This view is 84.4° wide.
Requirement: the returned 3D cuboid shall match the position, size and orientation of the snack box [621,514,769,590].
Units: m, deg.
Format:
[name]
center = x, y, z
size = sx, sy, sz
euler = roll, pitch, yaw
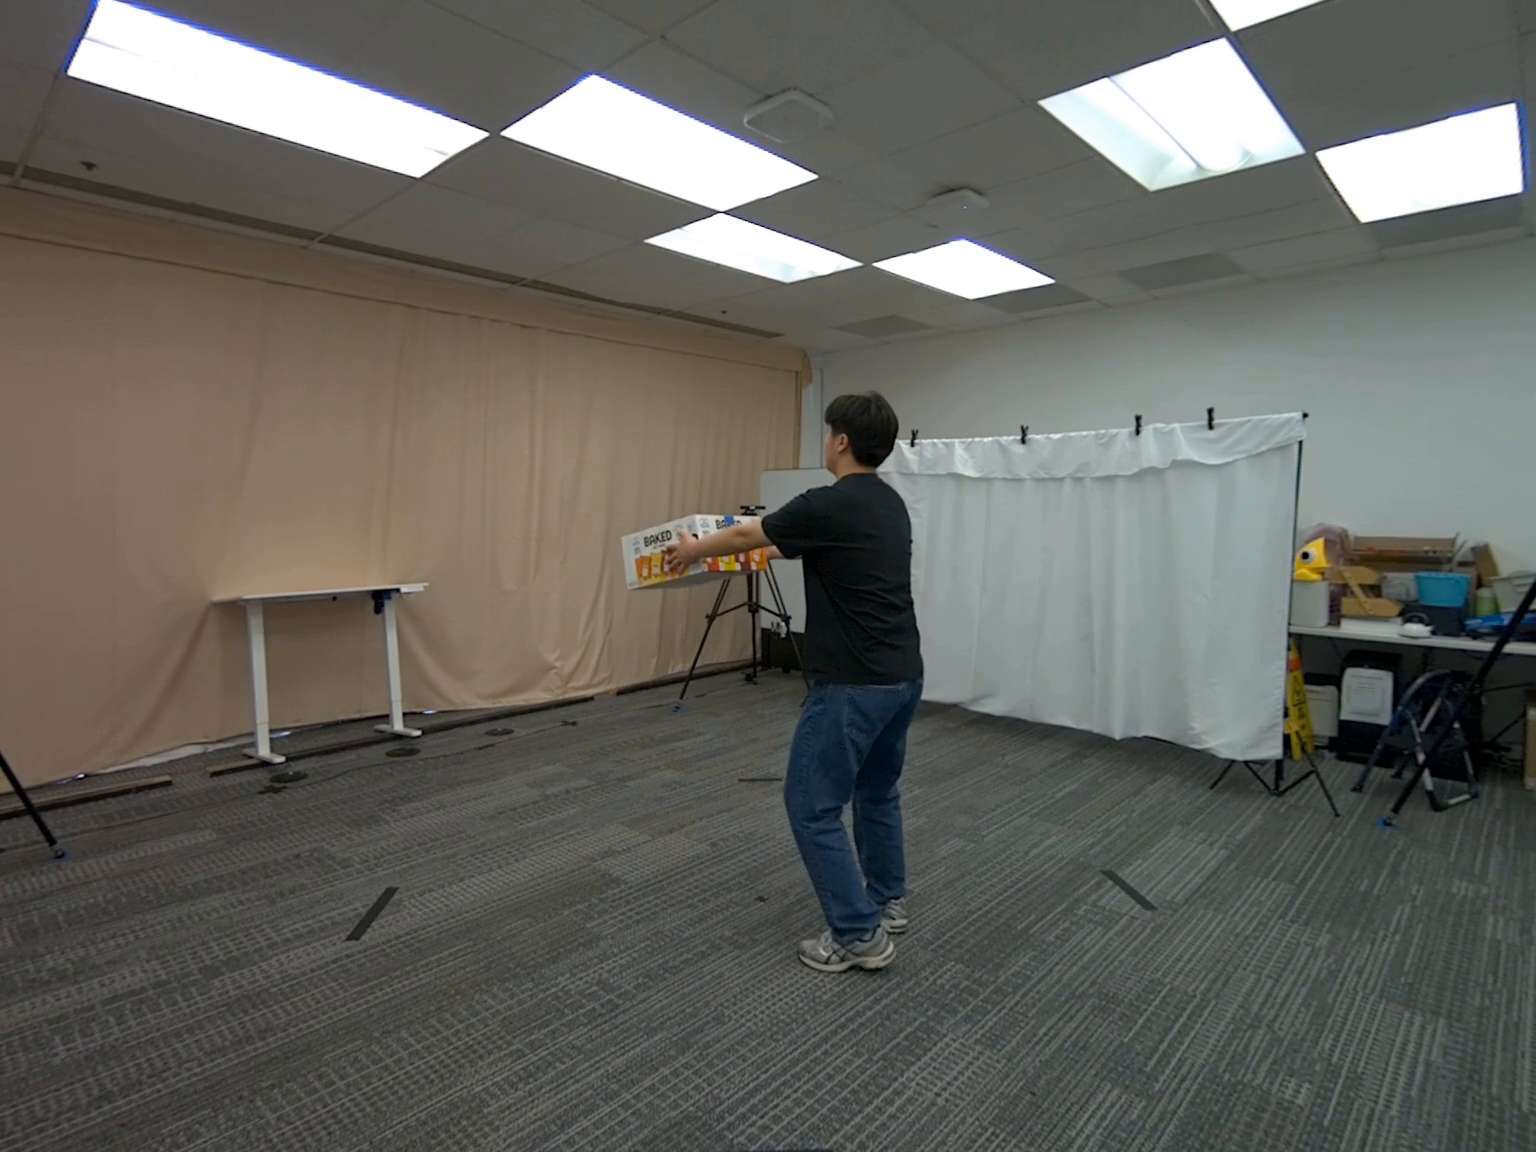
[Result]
[snack box]
center = -0.274, -0.078, 3.131
size = 0.416, 0.207, 0.329
euler = -14, -9, 41
